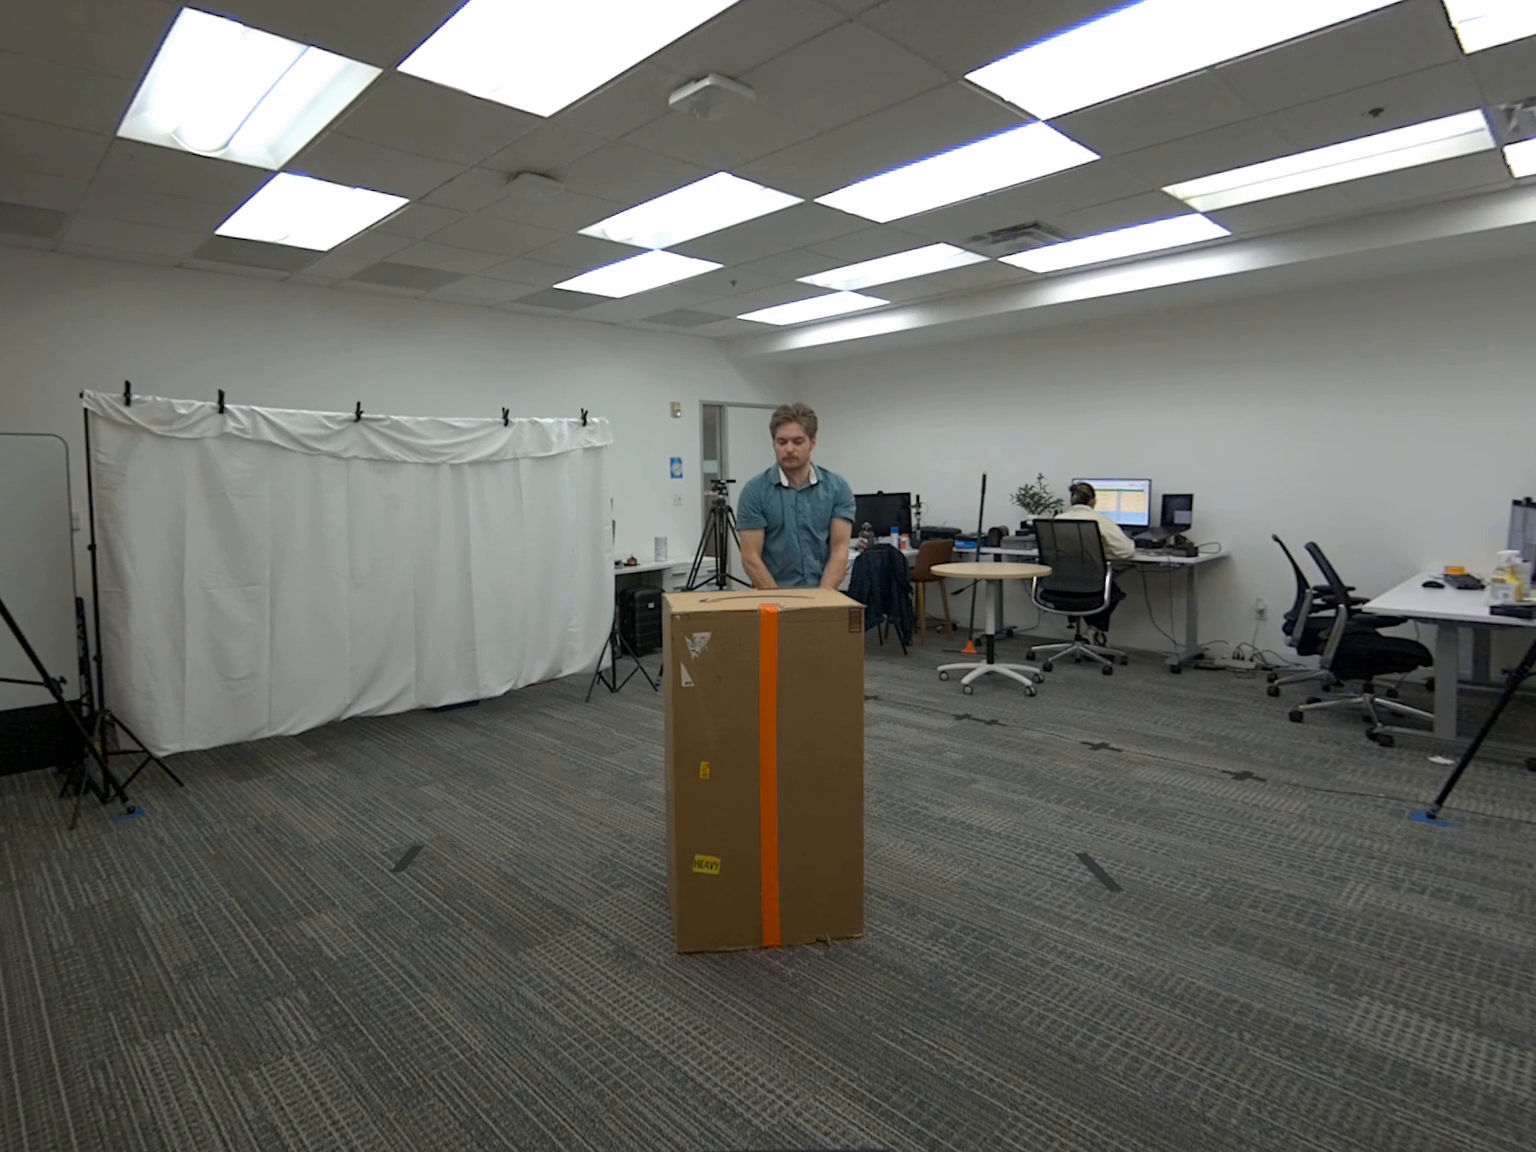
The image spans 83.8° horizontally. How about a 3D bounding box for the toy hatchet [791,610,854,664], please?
[{"bbox_3d":[0.202,0.232,3.260,0.028,0.134,0.274,13,-27,-42],"label":"toy hatchet"}]
